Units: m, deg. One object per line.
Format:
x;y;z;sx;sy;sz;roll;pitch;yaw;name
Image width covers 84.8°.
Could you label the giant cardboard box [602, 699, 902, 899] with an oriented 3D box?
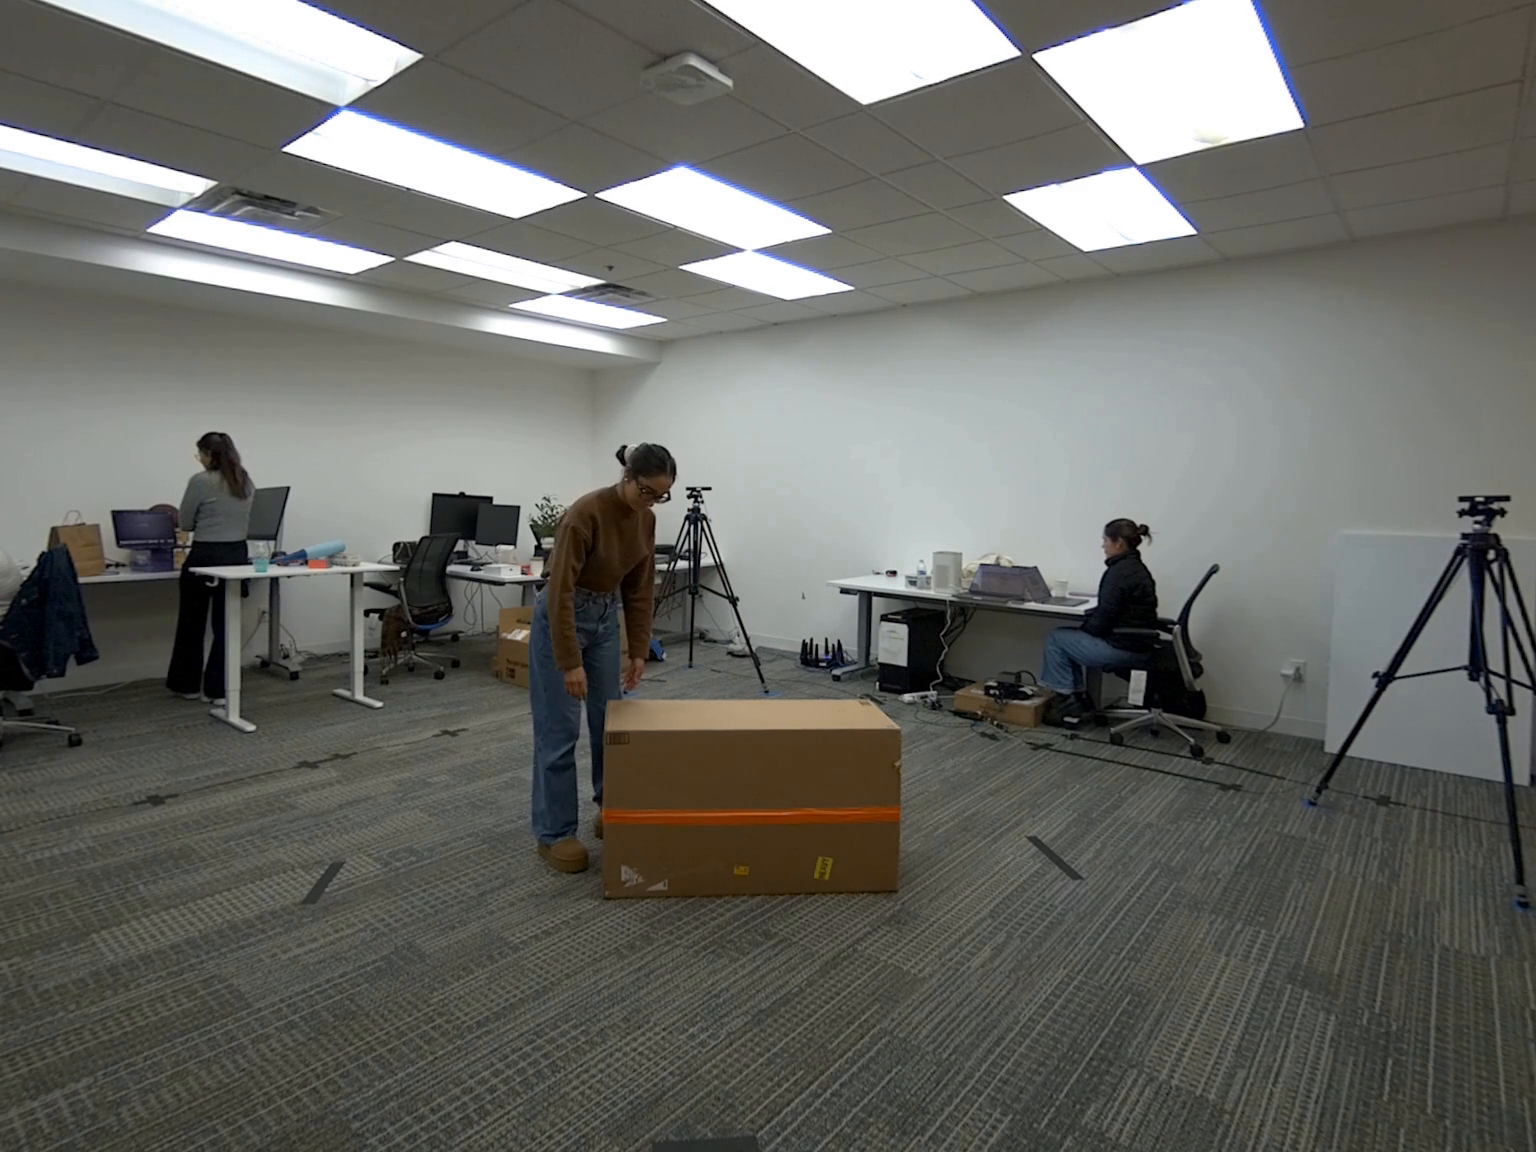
-0.083;0.779;3.083;1.020;0.575;0.430;0;4;-6;giant cardboard box
